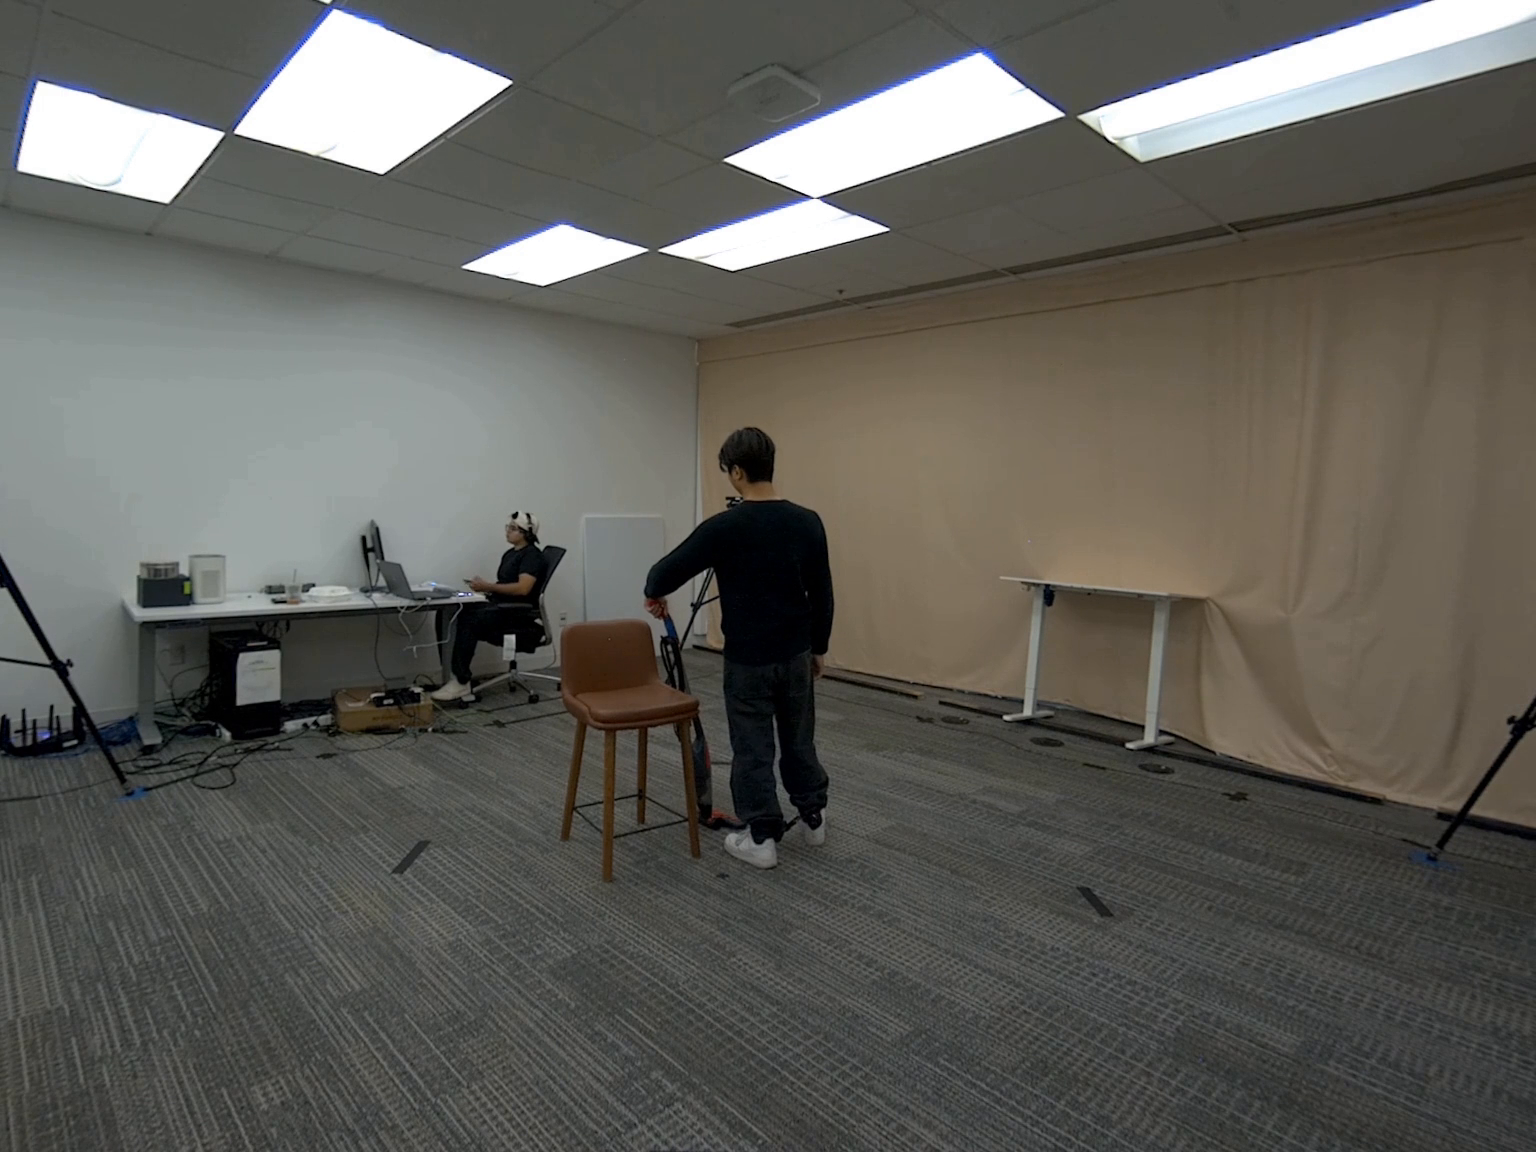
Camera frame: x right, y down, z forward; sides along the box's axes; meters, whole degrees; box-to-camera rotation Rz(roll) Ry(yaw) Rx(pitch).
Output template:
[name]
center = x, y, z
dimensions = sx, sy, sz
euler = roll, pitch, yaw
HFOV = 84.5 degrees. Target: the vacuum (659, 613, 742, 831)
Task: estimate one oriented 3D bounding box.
[vacuum]
center = -0.345, 0.568, 3.485
dimensions = 0.142, 1.035, 0.259
euler = -25, 20, -38
